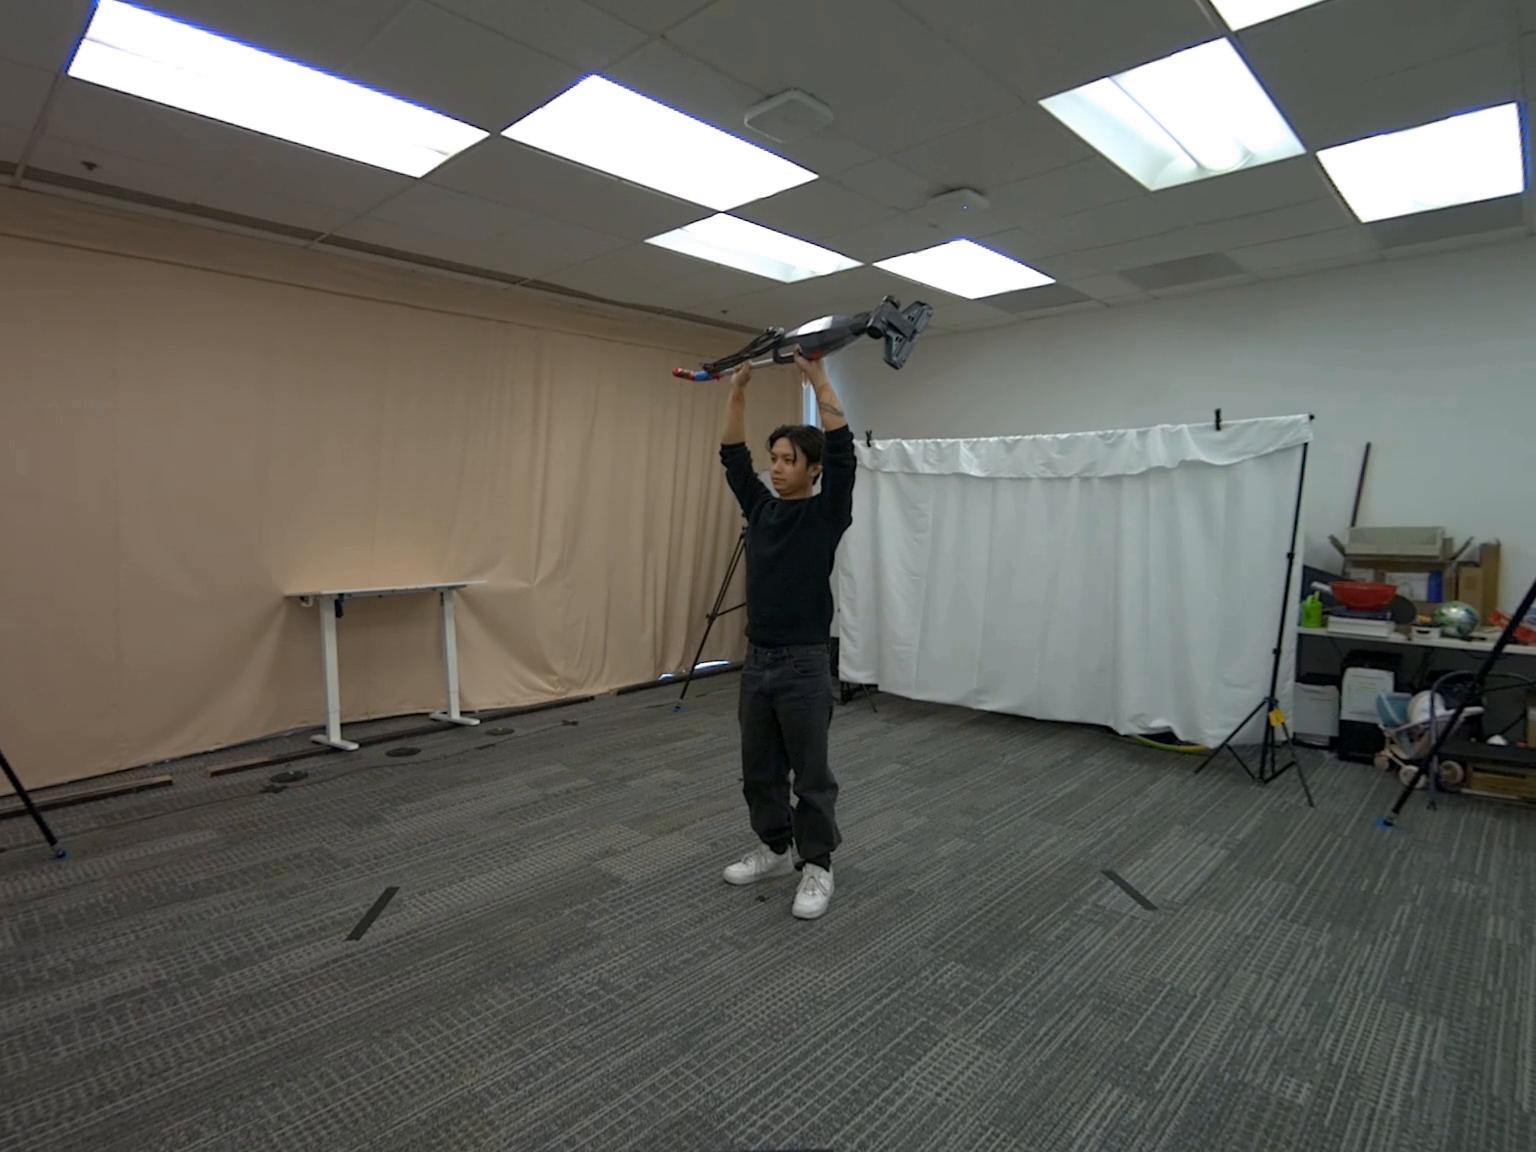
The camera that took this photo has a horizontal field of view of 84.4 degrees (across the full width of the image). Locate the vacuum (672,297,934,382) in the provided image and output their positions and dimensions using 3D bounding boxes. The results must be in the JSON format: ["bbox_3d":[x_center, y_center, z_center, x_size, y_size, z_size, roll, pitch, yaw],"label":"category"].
[{"bbox_3d":[0.018,-0.757,2.818,1.085,0.252,0.139,5,-37,46],"label":"vacuum"}]
